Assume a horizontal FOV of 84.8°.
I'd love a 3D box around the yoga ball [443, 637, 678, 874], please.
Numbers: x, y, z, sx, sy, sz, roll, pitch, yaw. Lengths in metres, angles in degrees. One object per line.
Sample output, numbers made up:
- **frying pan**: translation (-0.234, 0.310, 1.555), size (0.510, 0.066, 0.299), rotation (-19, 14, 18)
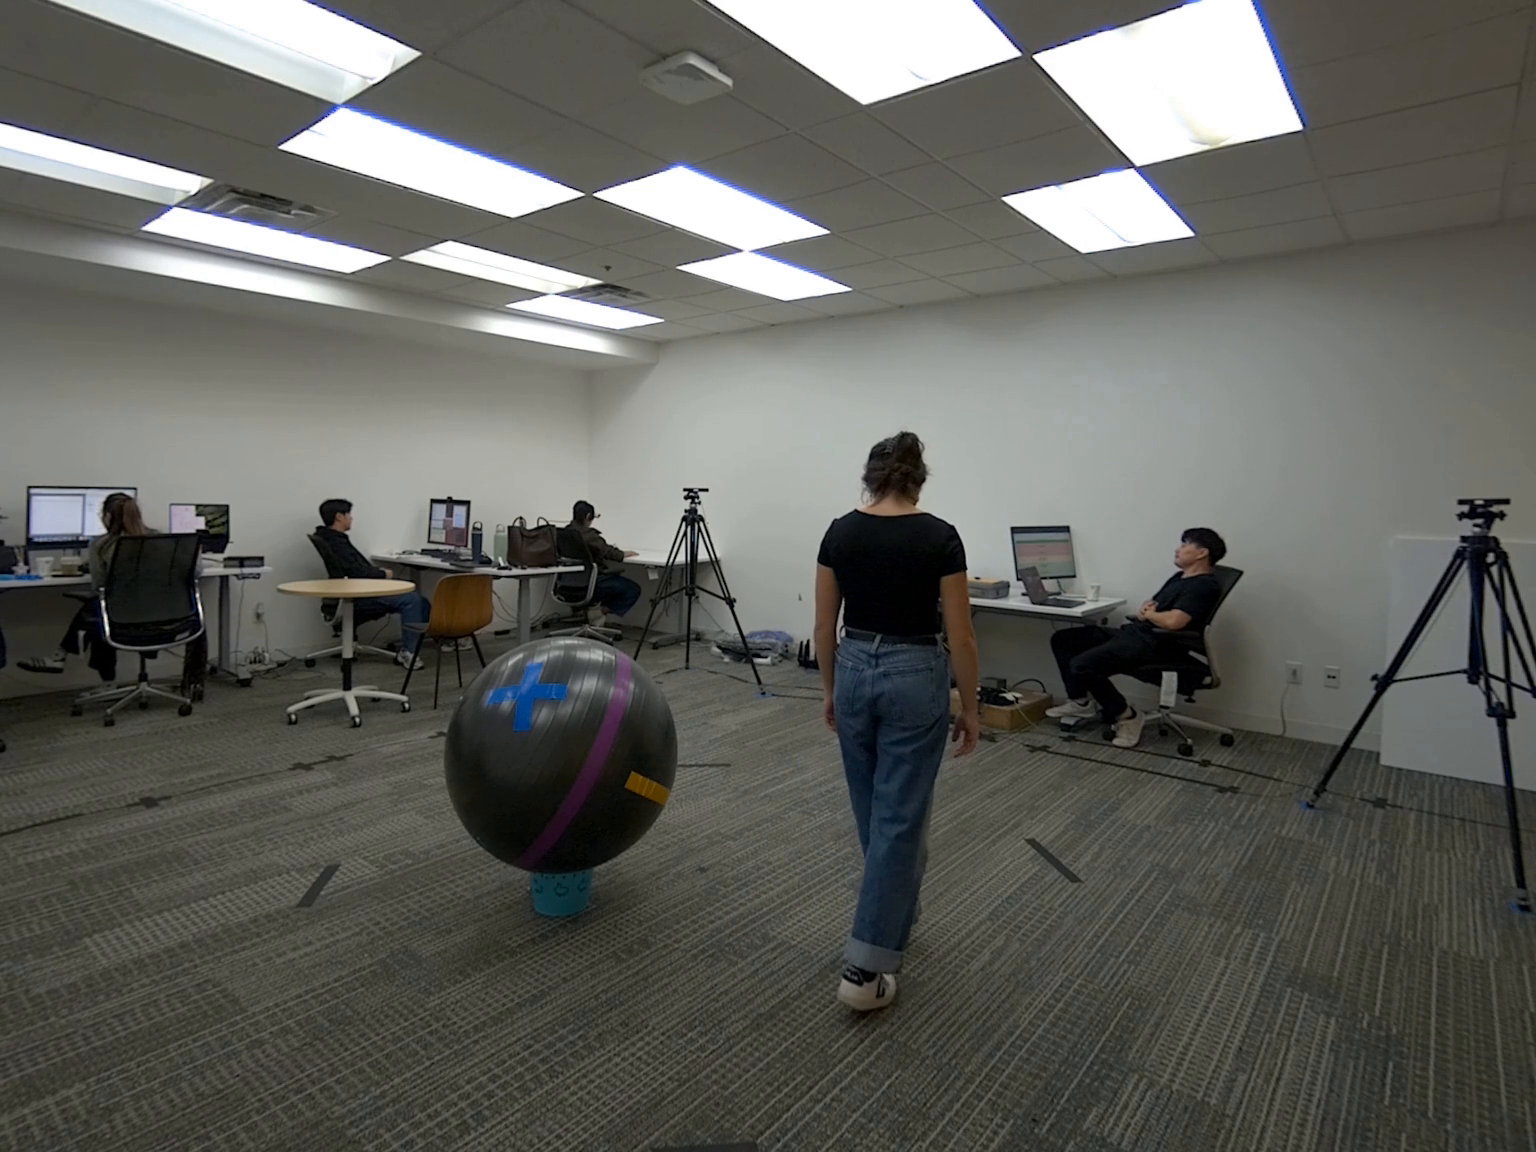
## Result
- **yoga ball**: translation (-0.694, 0.589, 2.814), size (0.757, 0.755, 0.762), rotation (1, 4, -2)
